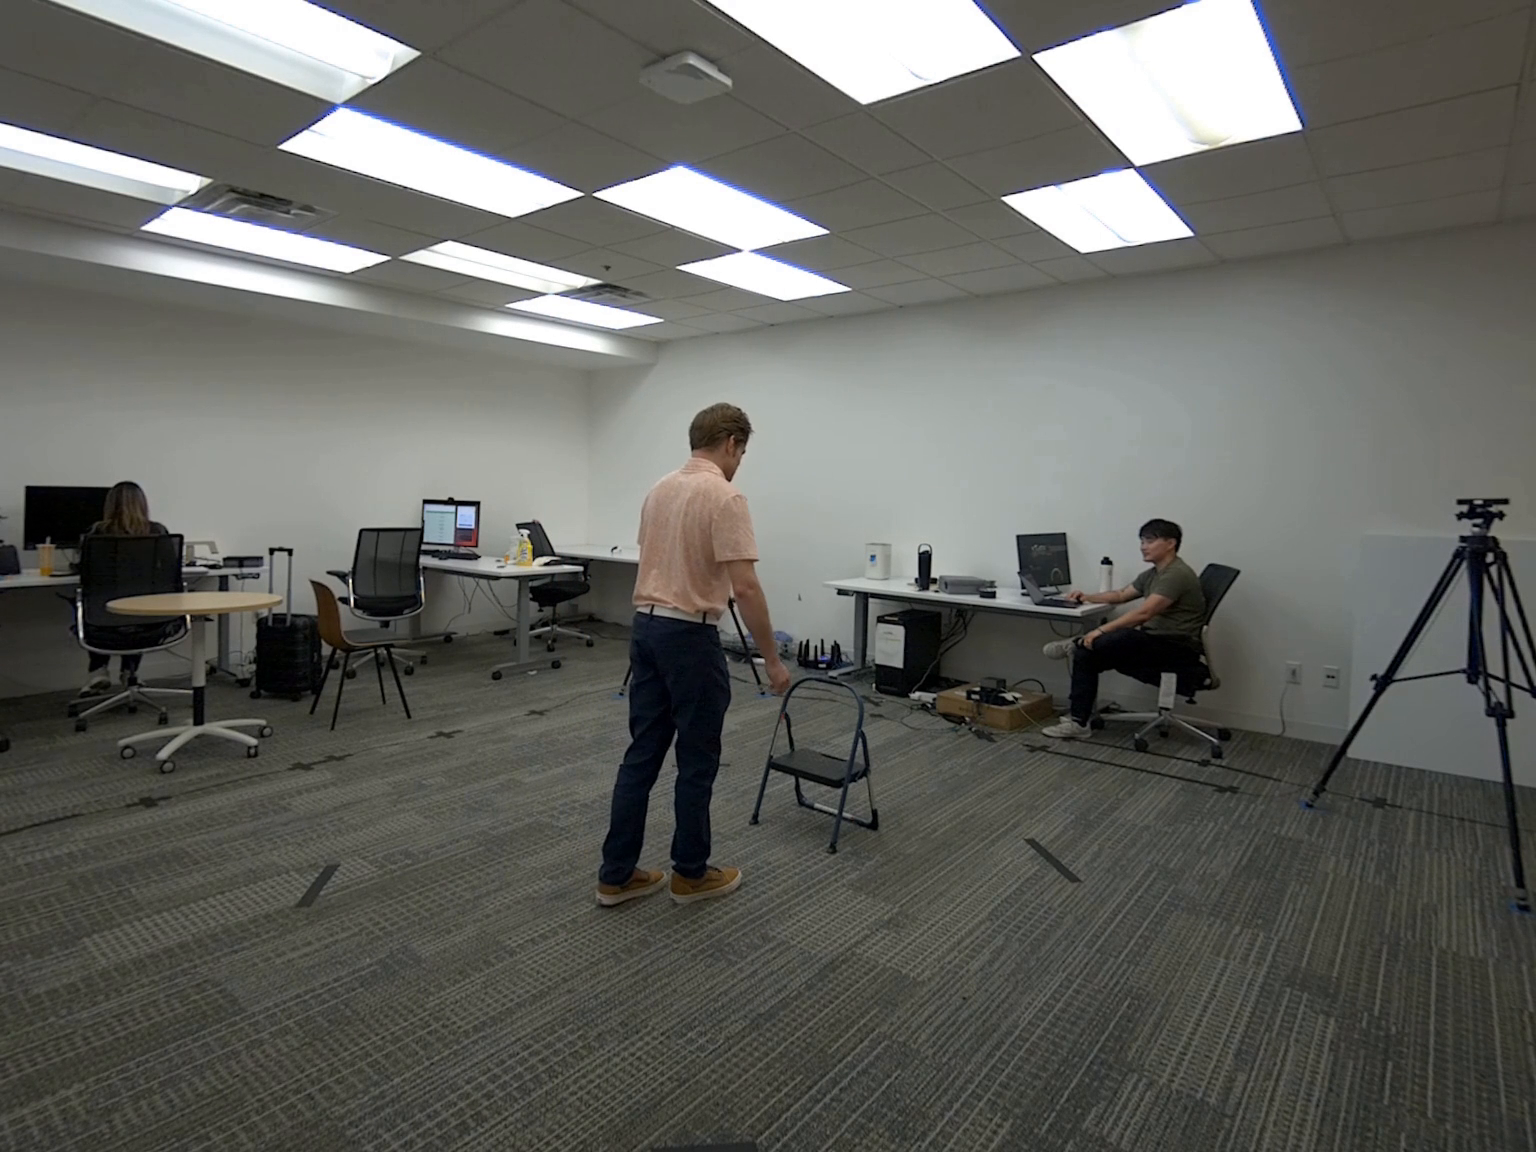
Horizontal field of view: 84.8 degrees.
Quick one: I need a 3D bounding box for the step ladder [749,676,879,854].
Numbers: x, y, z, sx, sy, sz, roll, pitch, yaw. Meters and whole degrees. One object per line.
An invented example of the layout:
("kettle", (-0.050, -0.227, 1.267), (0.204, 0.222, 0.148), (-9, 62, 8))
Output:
("step ladder", (0.192, 0.736, 3.520), (0.445, 0.604, 0.339), (5, 5, 40))
